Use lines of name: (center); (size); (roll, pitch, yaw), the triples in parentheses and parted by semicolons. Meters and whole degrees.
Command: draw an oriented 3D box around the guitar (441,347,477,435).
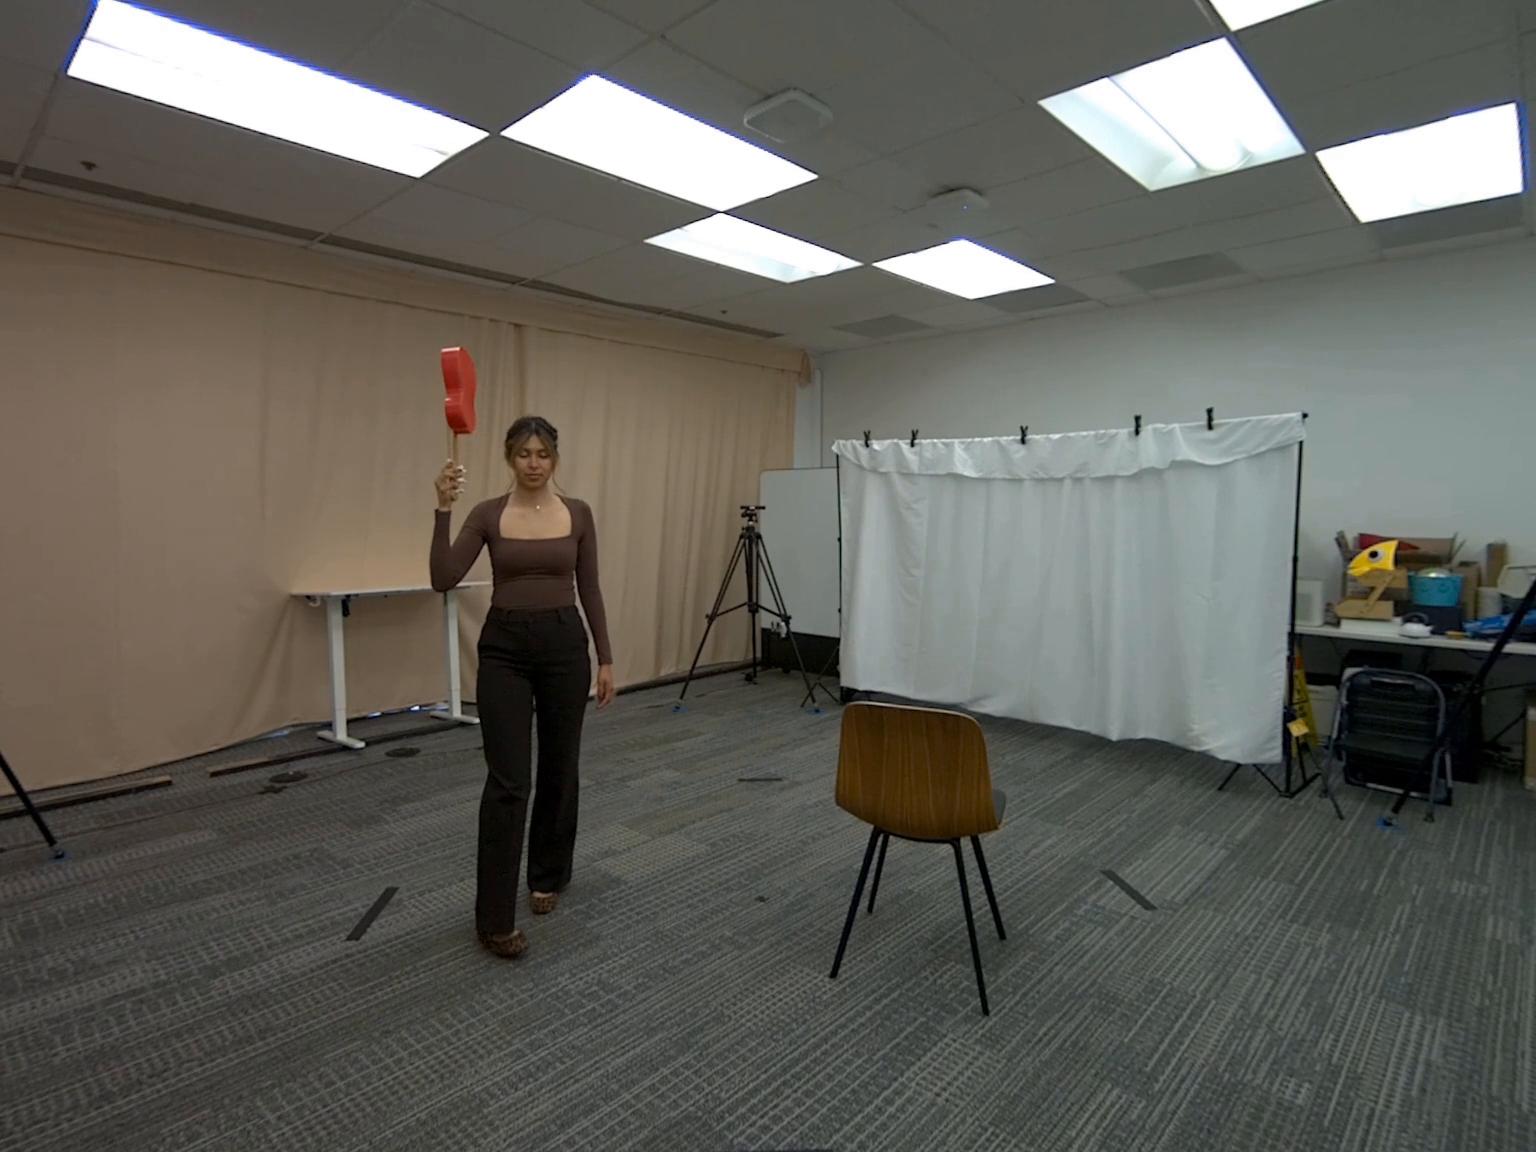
guitar: (-1.002, -0.493, 2.759); (0.070, 0.498, 0.193); (-4, 0, -5)
